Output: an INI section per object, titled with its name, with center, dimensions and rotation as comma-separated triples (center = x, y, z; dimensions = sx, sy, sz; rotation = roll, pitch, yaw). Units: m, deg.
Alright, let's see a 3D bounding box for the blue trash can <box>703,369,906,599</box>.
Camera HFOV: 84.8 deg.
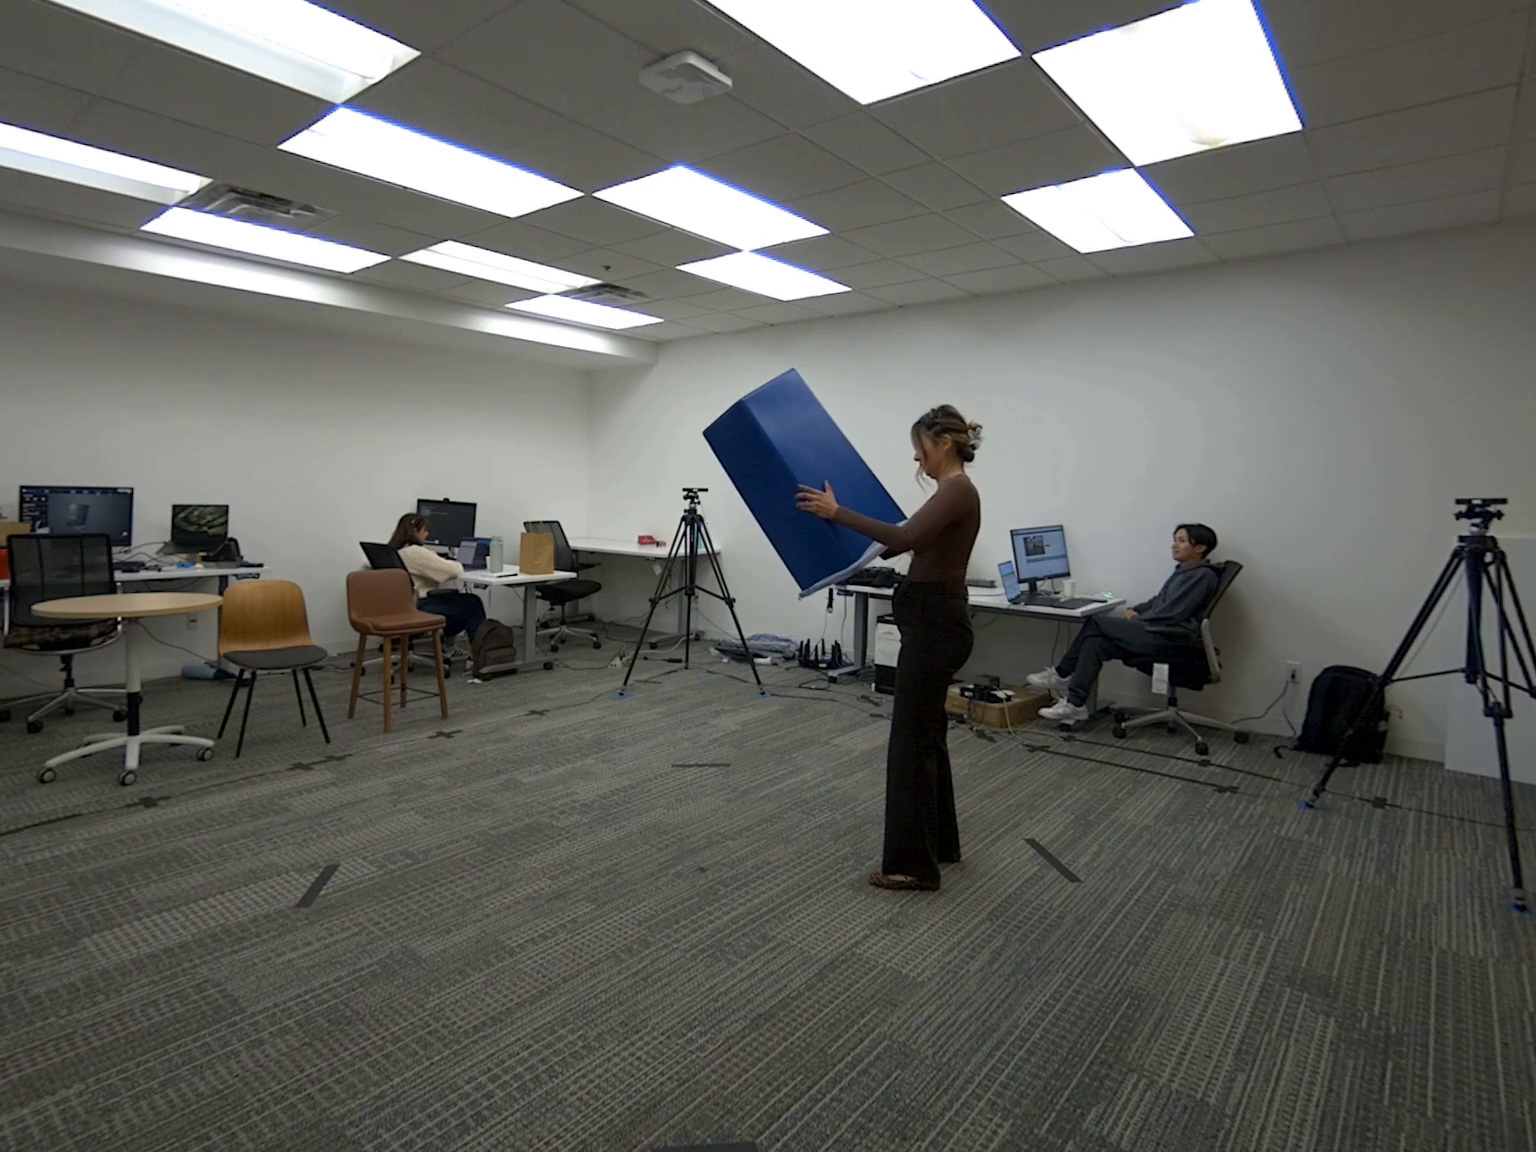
[blue trash can]
center = 0.116, -0.348, 3.098
dimensions = 0.375, 0.713, 0.378
rotation = -36, 2, -34
